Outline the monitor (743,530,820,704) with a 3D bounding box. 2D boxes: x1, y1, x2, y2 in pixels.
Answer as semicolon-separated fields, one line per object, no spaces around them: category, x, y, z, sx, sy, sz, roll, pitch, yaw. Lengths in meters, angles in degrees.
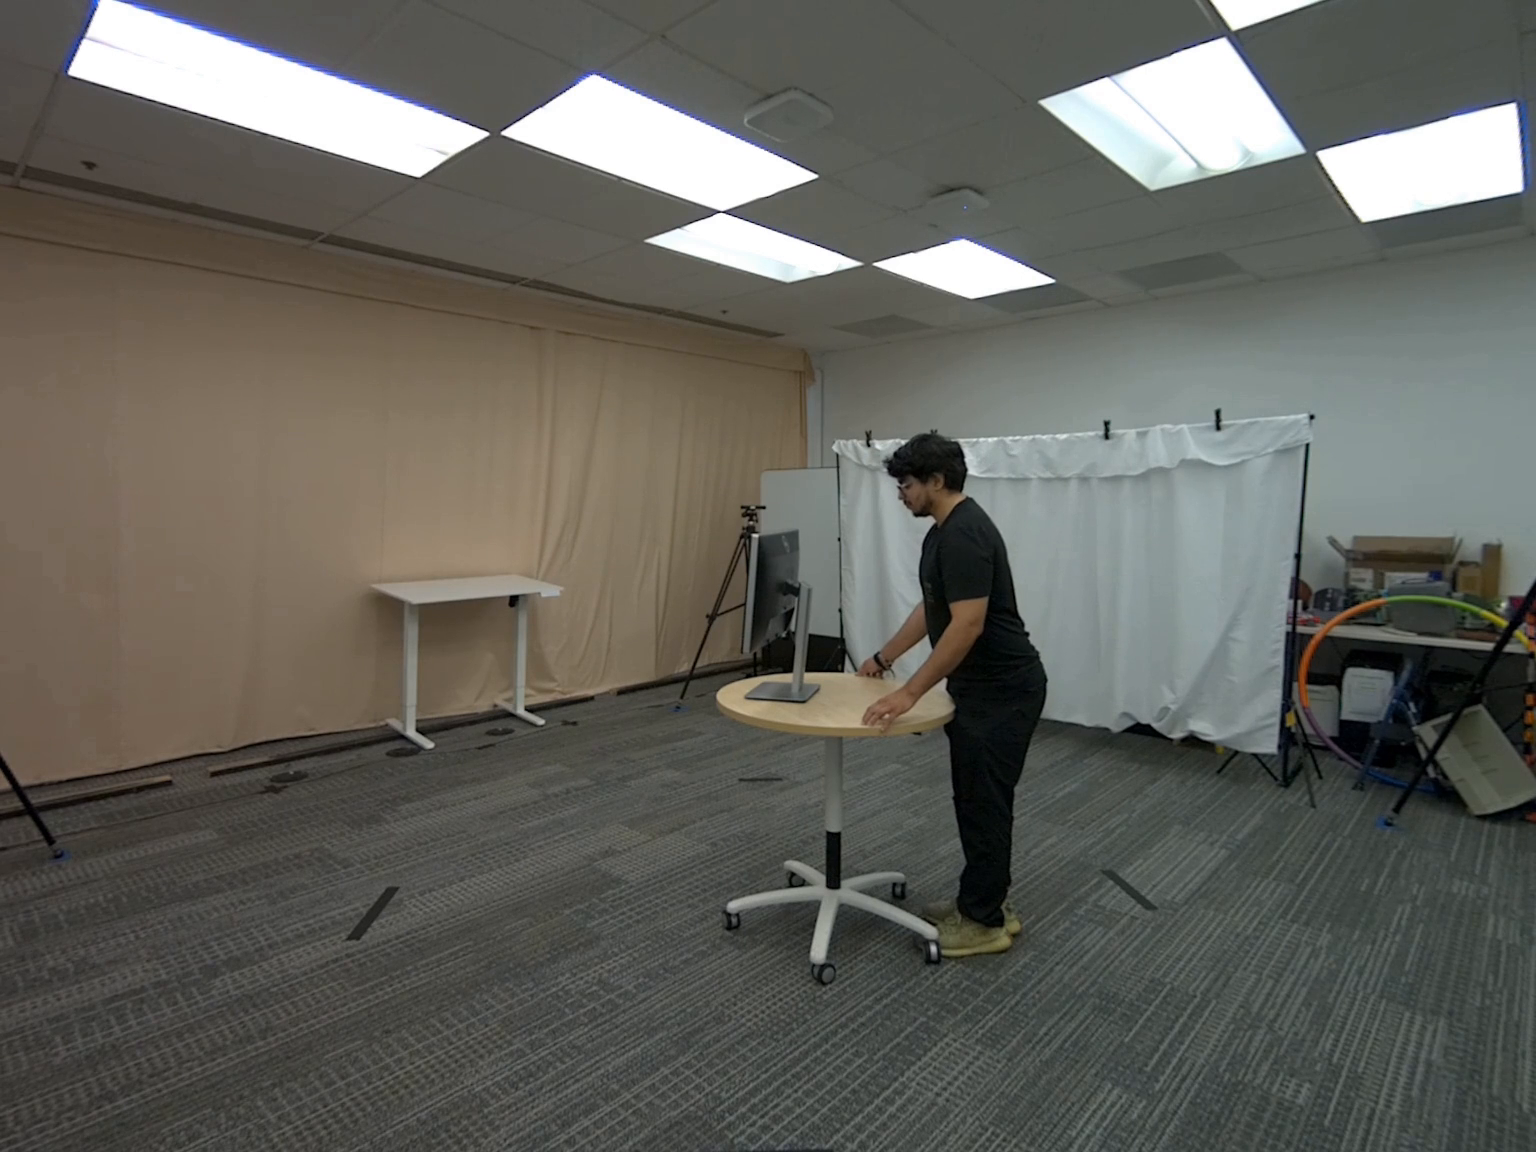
monitor;0.078;0.131;2.751;0.214;0.552;0.556;4;5;16
